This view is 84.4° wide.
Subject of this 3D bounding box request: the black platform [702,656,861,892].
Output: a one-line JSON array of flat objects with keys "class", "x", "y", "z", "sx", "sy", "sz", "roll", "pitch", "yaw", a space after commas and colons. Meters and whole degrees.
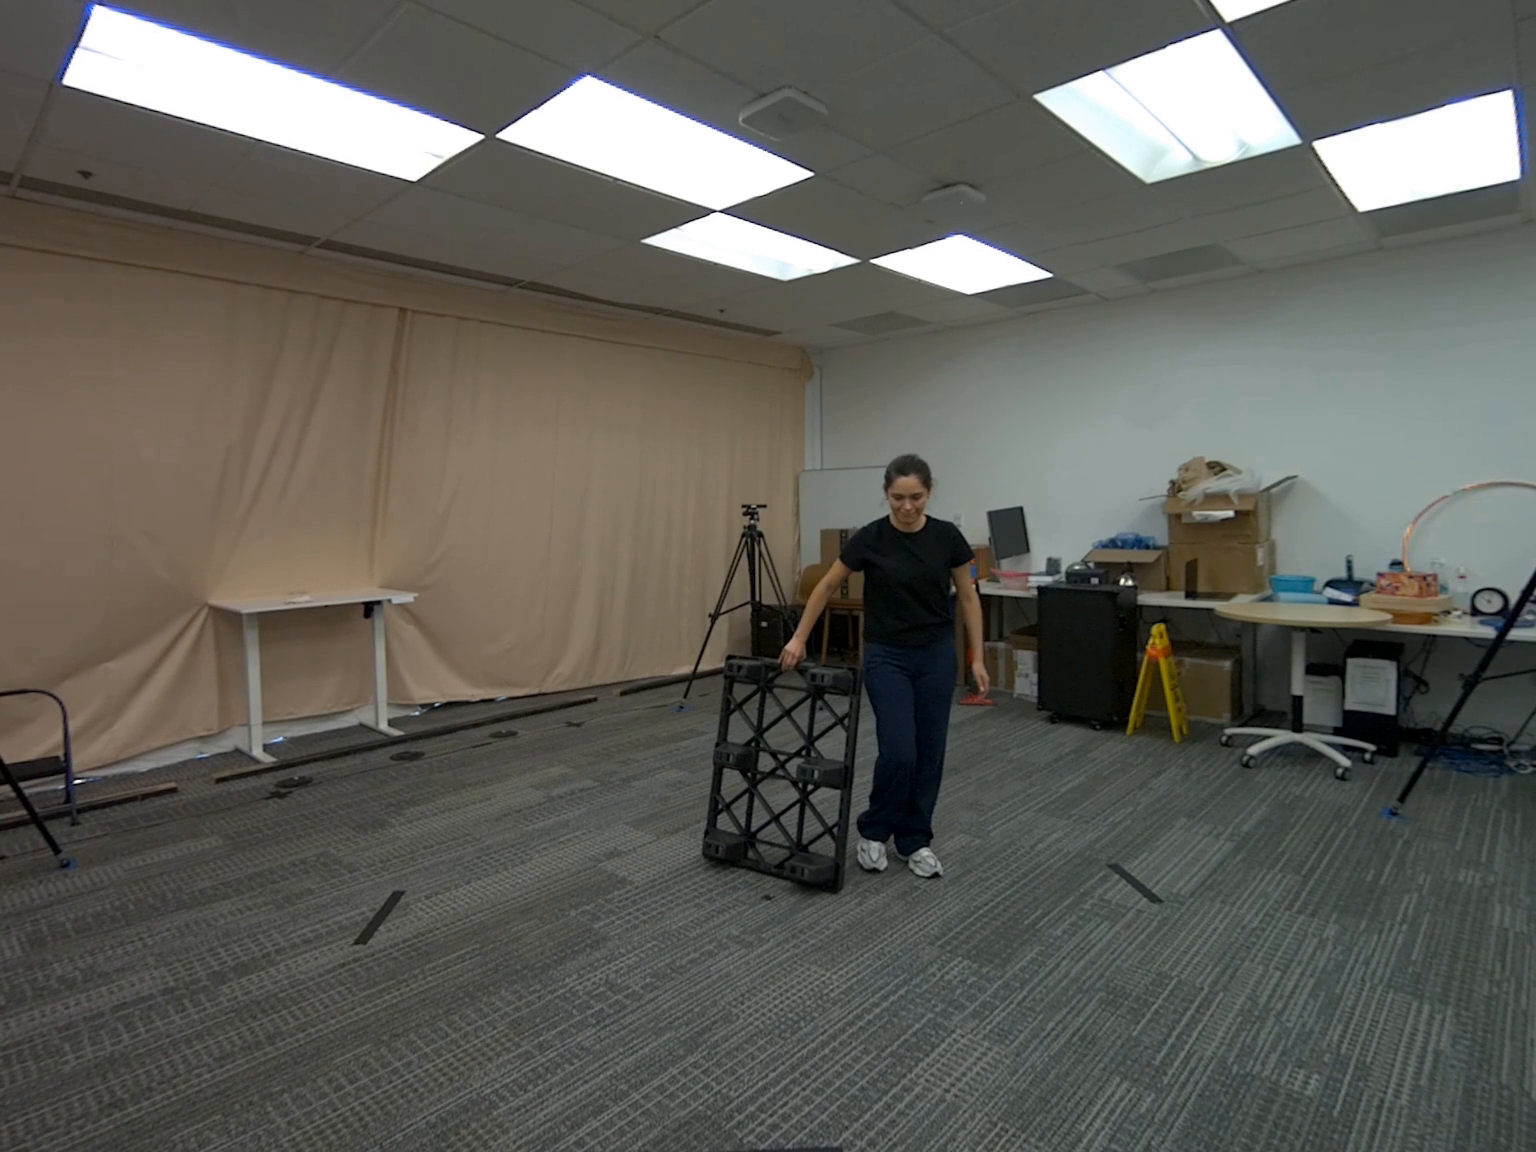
[{"class": "black platform", "x": 0.043, "y": 0.727, "z": 3.194, "sx": 0.623, "sy": 0.809, "sz": 0.138, "roll": 1, "pitch": -11, "yaw": 33}]
